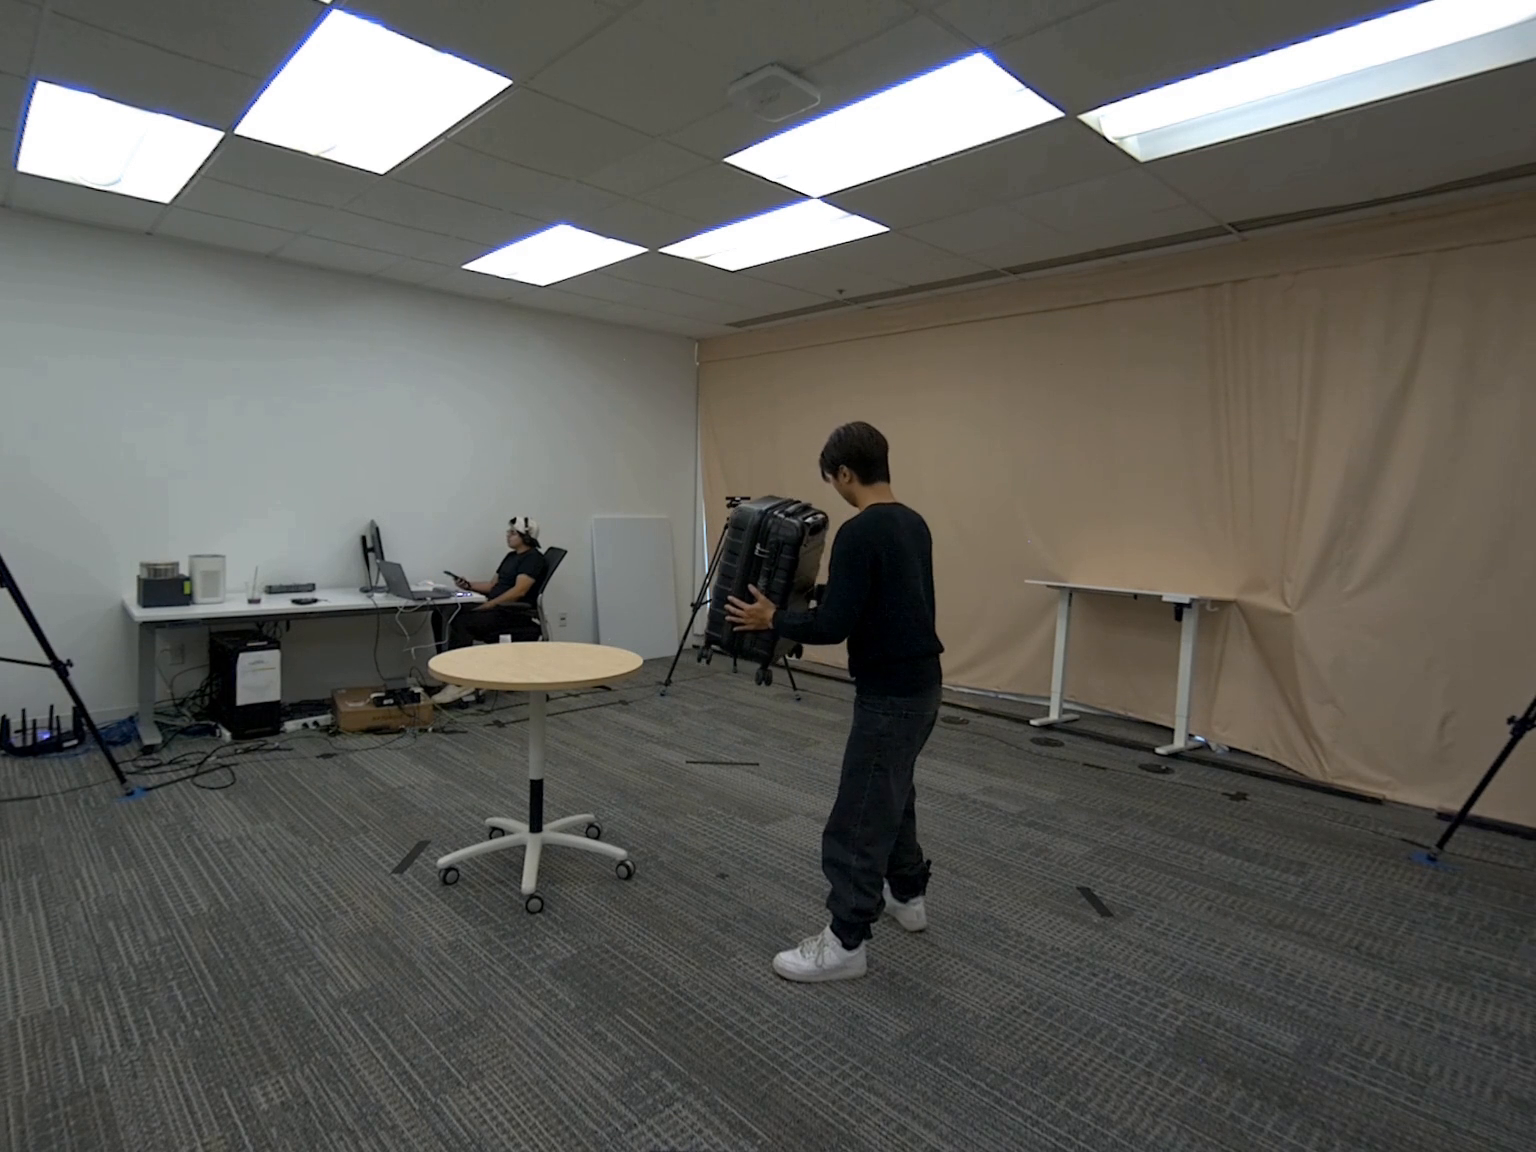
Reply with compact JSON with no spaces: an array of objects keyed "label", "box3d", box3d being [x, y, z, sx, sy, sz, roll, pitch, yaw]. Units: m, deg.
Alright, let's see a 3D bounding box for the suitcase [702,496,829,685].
[{"label":"suitcase","box3d":[-0.001,0.022,2.759,0.253,0.544,0.372,18,17,19]}]
